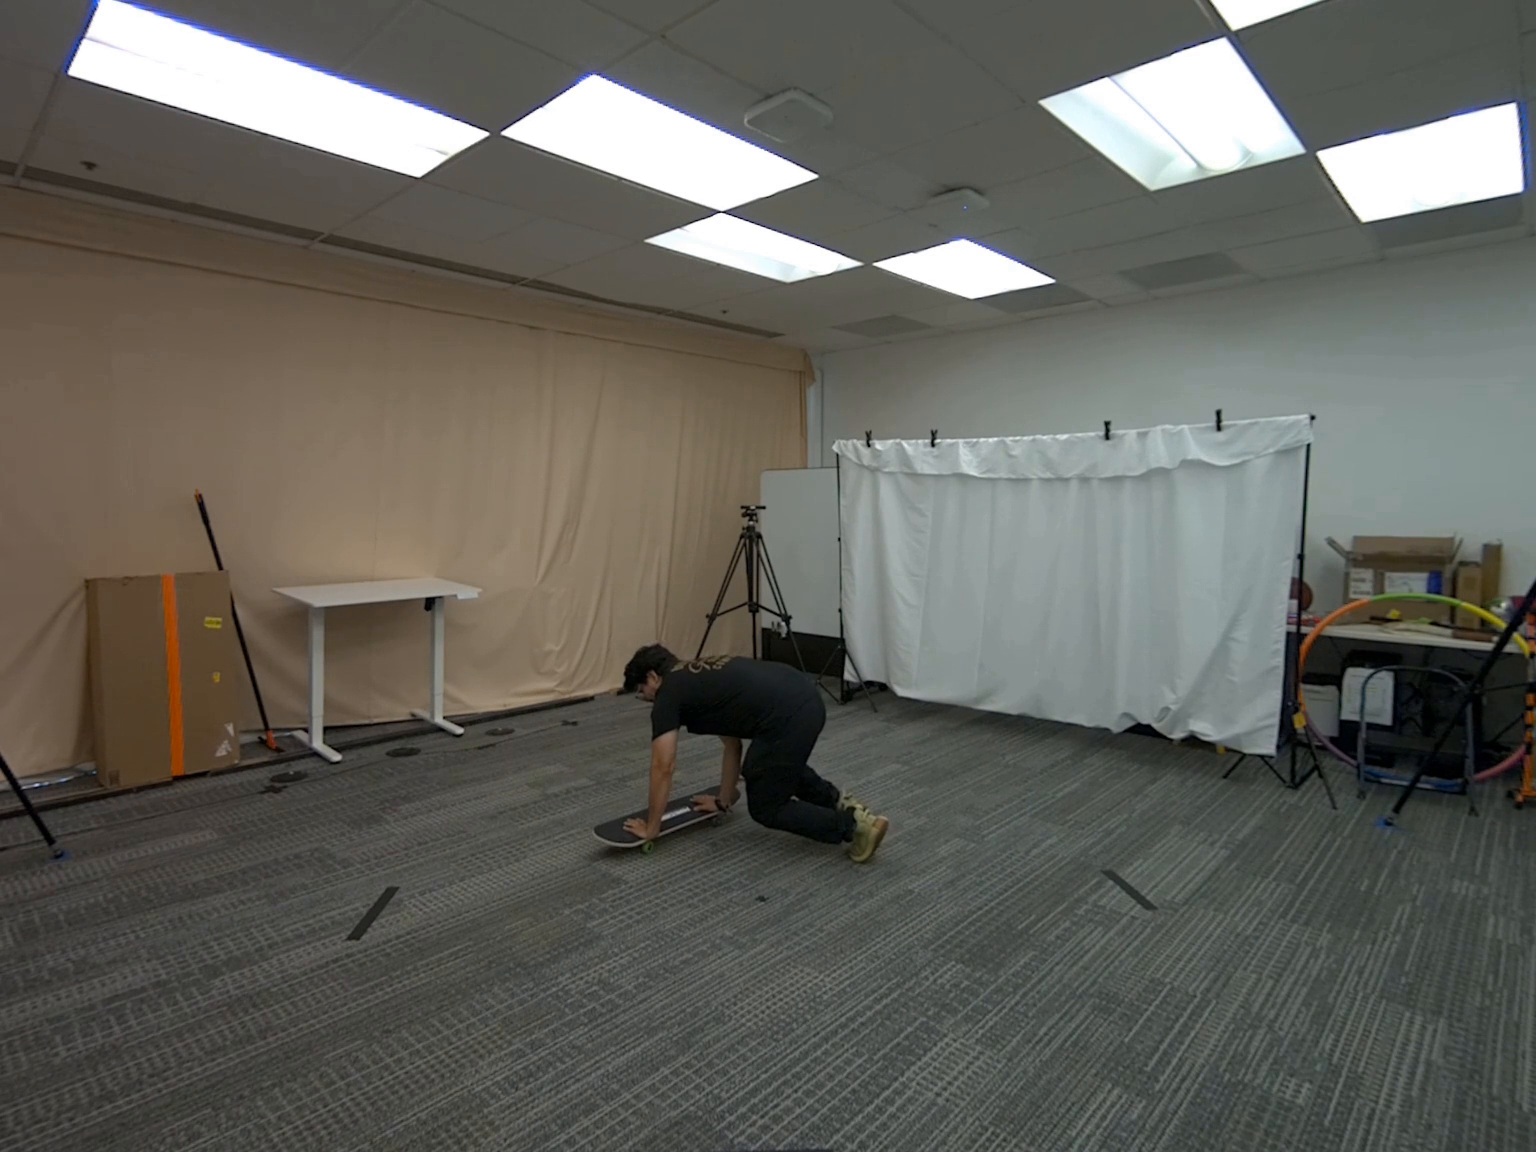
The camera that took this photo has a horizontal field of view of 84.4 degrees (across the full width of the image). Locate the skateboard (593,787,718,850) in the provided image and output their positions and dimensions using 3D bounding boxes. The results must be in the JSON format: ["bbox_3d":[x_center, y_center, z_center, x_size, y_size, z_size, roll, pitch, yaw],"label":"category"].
[{"bbox_3d":[-0.420,1.044,3.574,0.200,0.110,0.761,13,12,41],"label":"skateboard"}]
